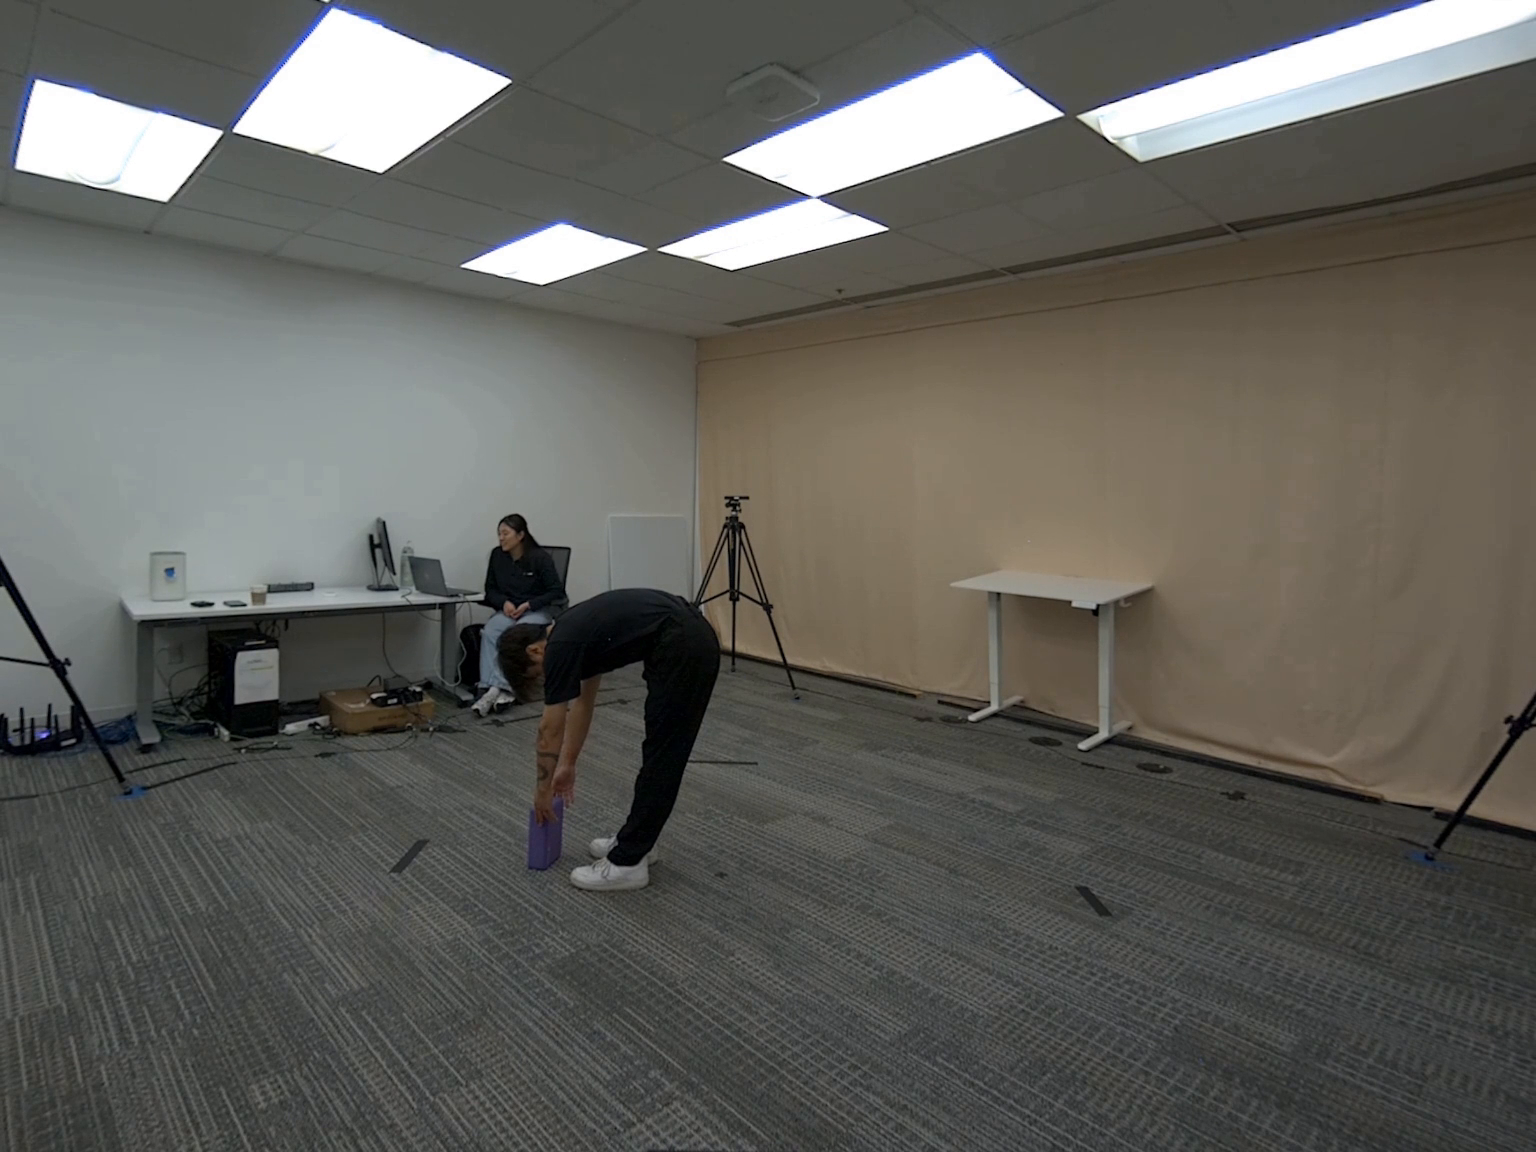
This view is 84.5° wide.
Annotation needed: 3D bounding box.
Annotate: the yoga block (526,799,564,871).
[{"bbox_3d":[-0.838,0.964,3.170,0.077,0.229,0.148,2,3,10],"label":"yoga block"}]
